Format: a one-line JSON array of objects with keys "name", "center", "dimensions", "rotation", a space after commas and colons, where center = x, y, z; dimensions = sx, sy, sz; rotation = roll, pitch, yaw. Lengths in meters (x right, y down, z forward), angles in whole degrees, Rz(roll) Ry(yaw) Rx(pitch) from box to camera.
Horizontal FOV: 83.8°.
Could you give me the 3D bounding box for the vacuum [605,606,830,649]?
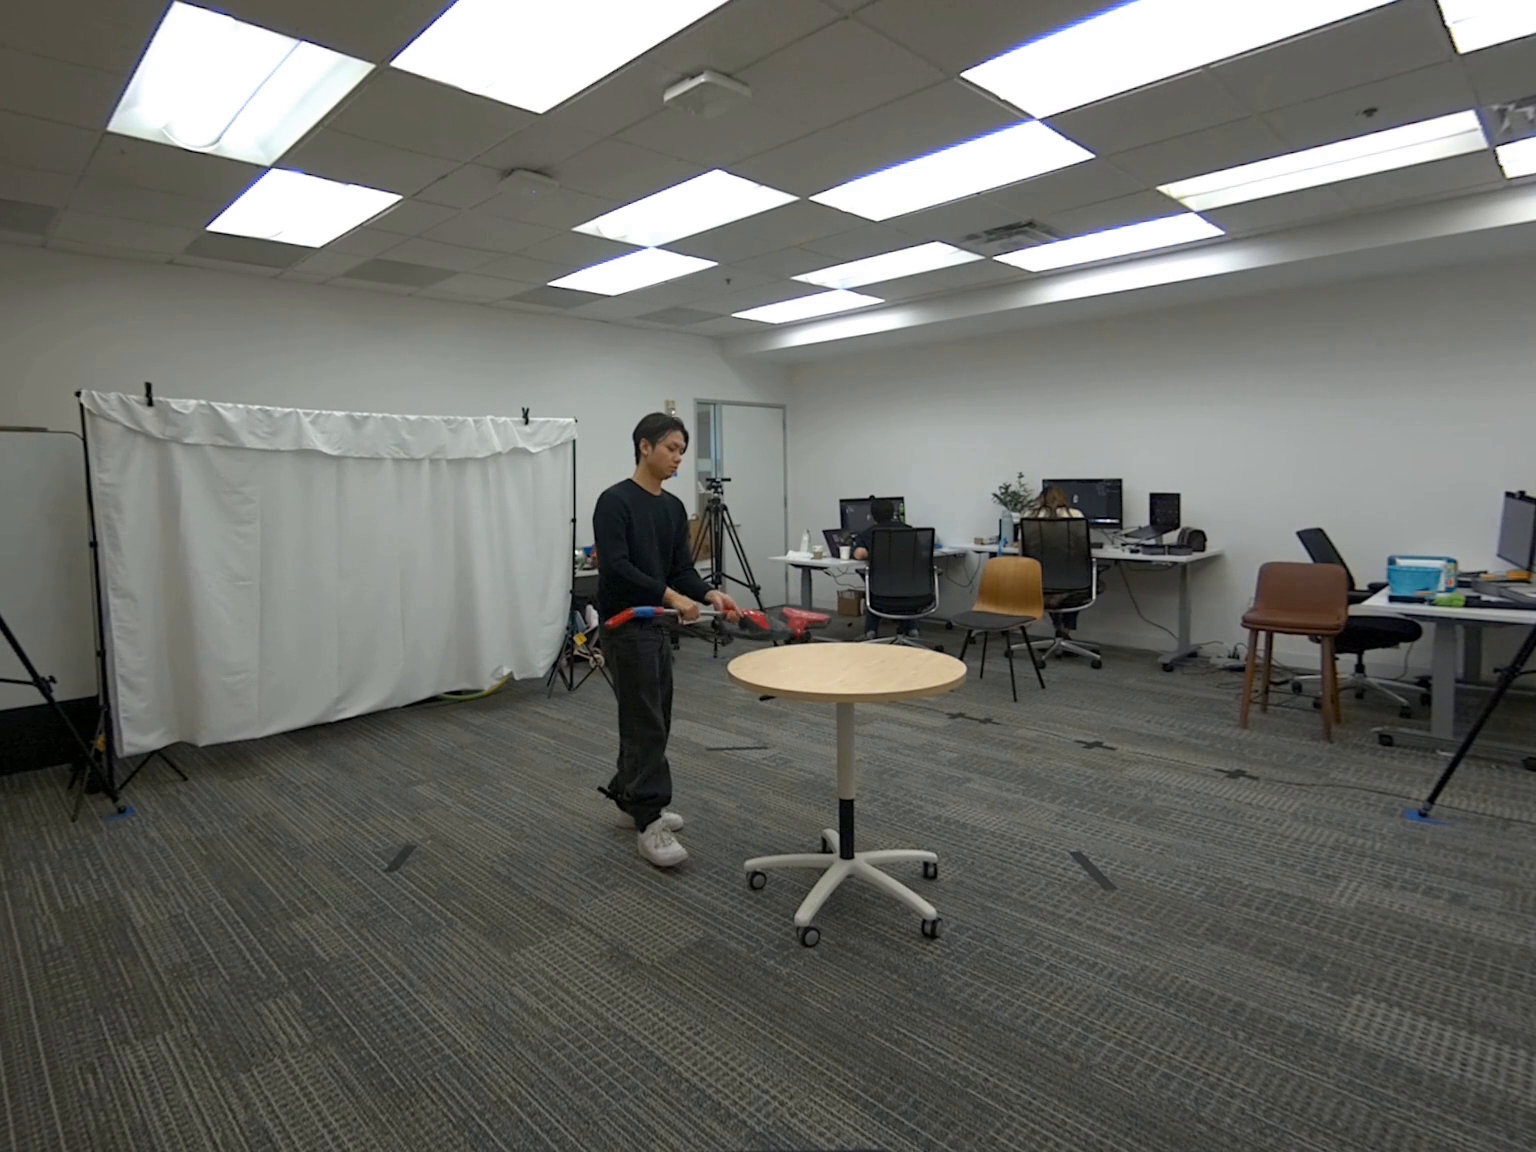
[{"name": "vacuum", "center": [-0.186, 0.193, 3.194], "dimensions": [0.260, 0.144, 1.017], "rotation": [4, 0, 39]}]
